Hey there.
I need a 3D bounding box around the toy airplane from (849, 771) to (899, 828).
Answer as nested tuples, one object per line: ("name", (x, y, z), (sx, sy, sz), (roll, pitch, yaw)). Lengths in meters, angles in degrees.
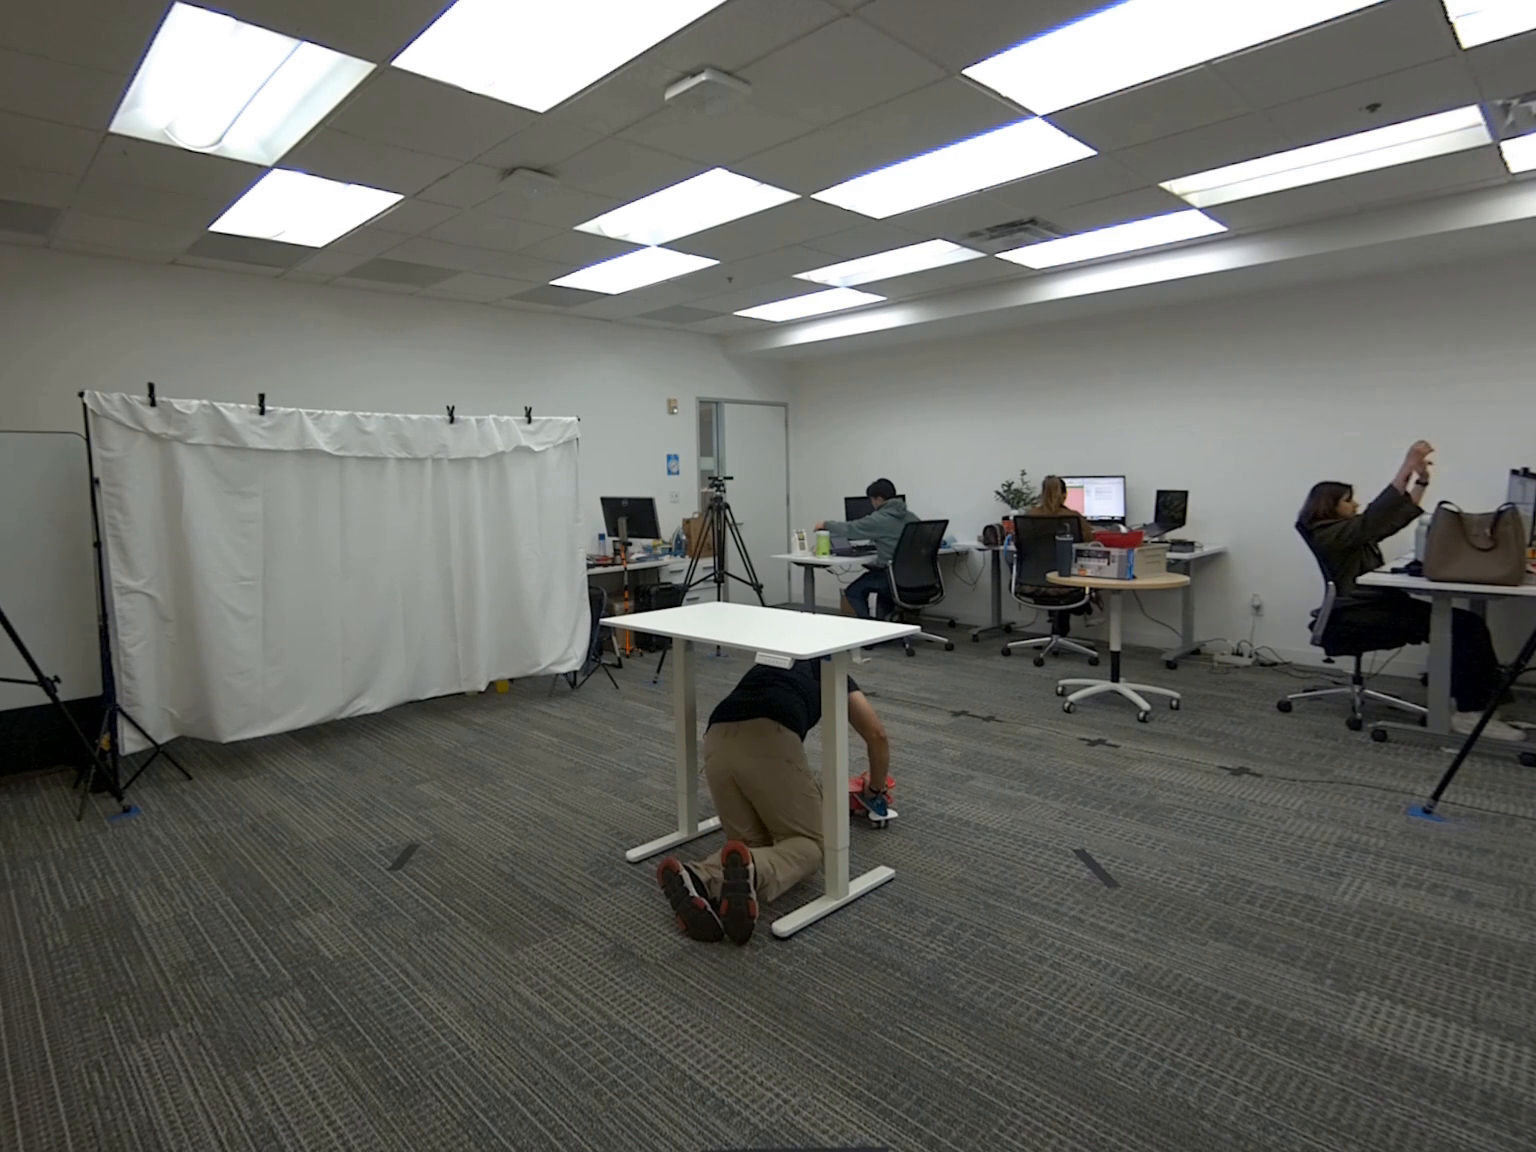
("toy airplane", (0.429, 0.913, 3.467), (0.267, 0.156, 0.244), (3, 5, 39))
